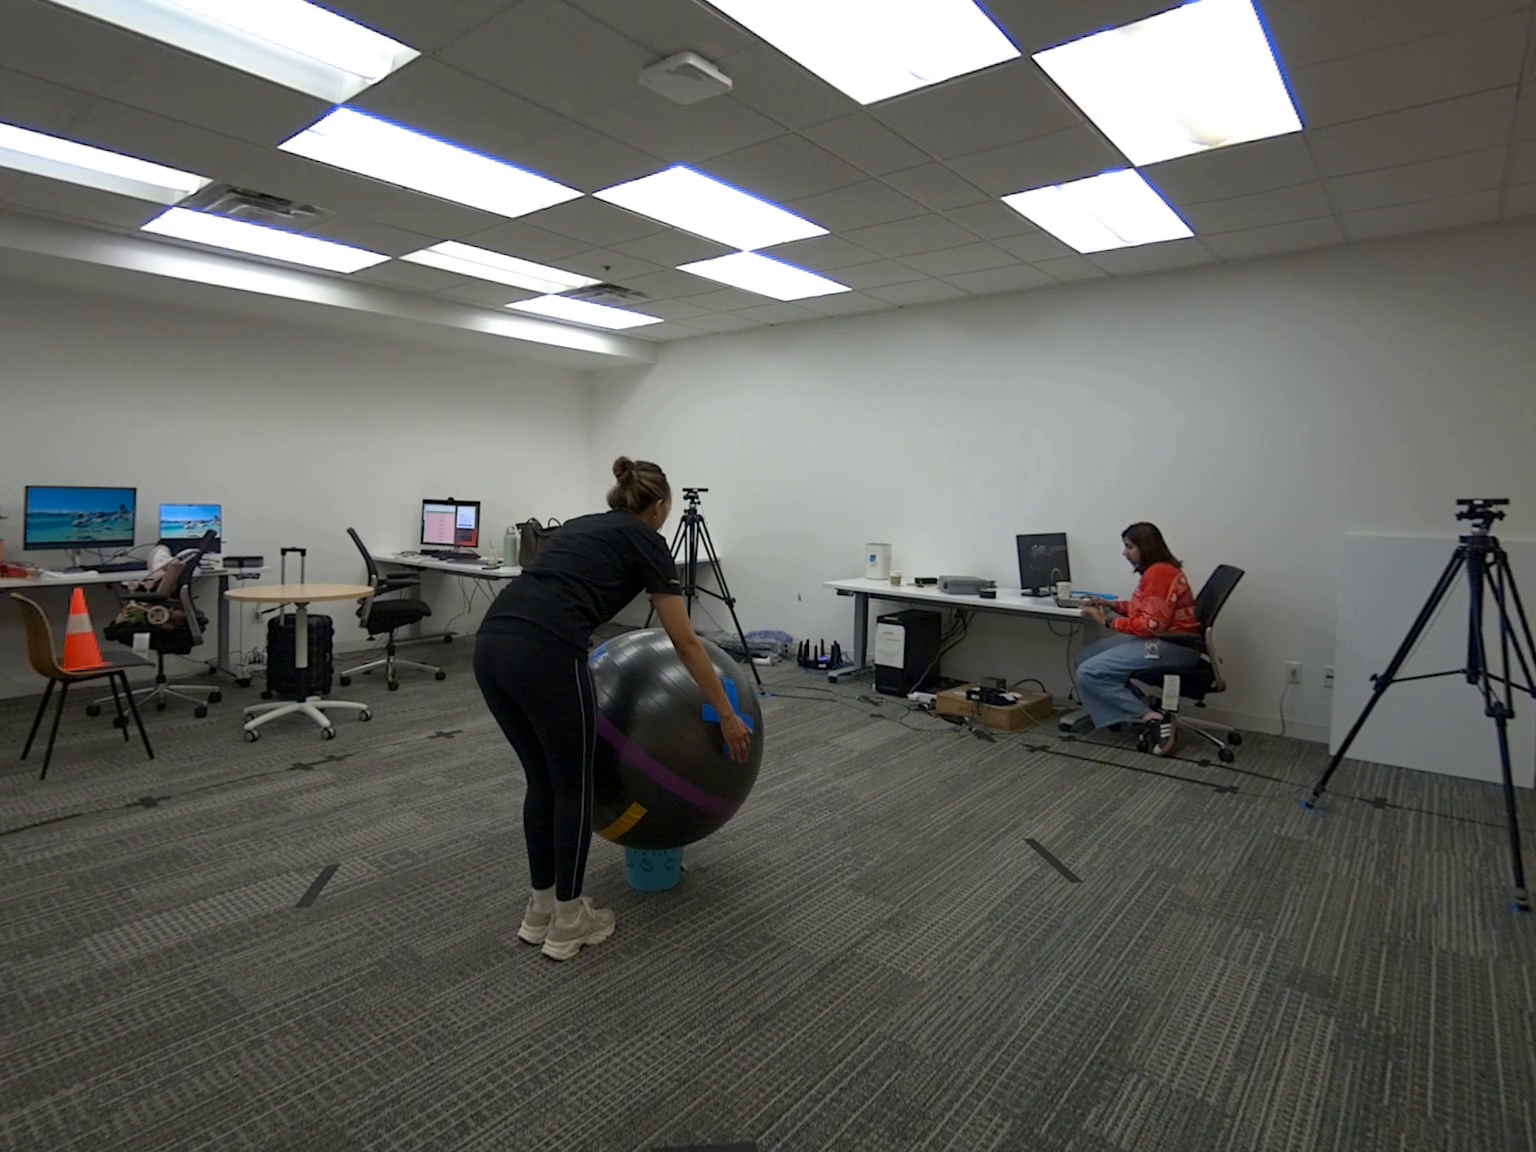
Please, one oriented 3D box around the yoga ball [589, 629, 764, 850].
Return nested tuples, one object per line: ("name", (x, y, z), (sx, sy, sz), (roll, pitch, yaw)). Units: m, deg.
("yoga ball", (-0.400, 0.566, 3.001), (0.757, 0.755, 0.762), (1, 4, -2))
